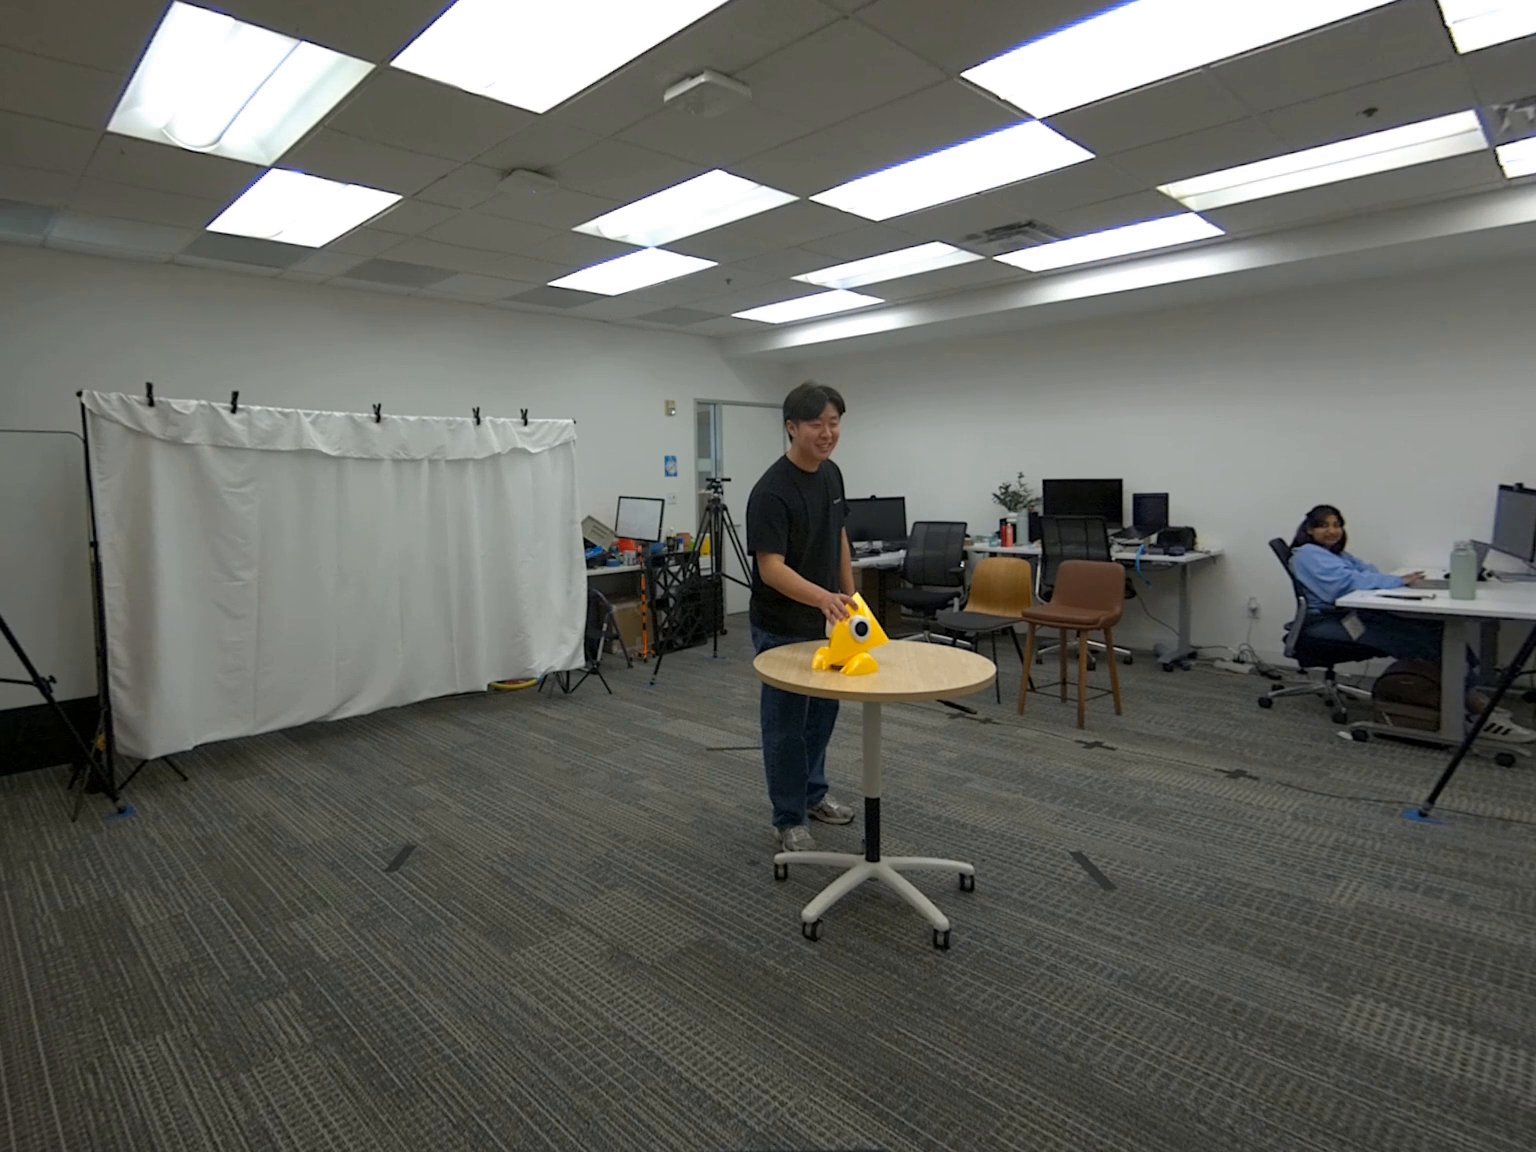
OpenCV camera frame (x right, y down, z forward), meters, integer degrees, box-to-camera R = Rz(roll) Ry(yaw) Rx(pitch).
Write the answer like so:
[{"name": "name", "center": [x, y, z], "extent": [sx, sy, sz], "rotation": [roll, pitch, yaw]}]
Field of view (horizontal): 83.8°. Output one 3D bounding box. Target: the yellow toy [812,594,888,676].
[{"name": "yellow toy", "center": [0.251, 0.179, 2.688], "extent": [0.211, 0.230, 0.188], "rotation": [4, 7, 42]}]
